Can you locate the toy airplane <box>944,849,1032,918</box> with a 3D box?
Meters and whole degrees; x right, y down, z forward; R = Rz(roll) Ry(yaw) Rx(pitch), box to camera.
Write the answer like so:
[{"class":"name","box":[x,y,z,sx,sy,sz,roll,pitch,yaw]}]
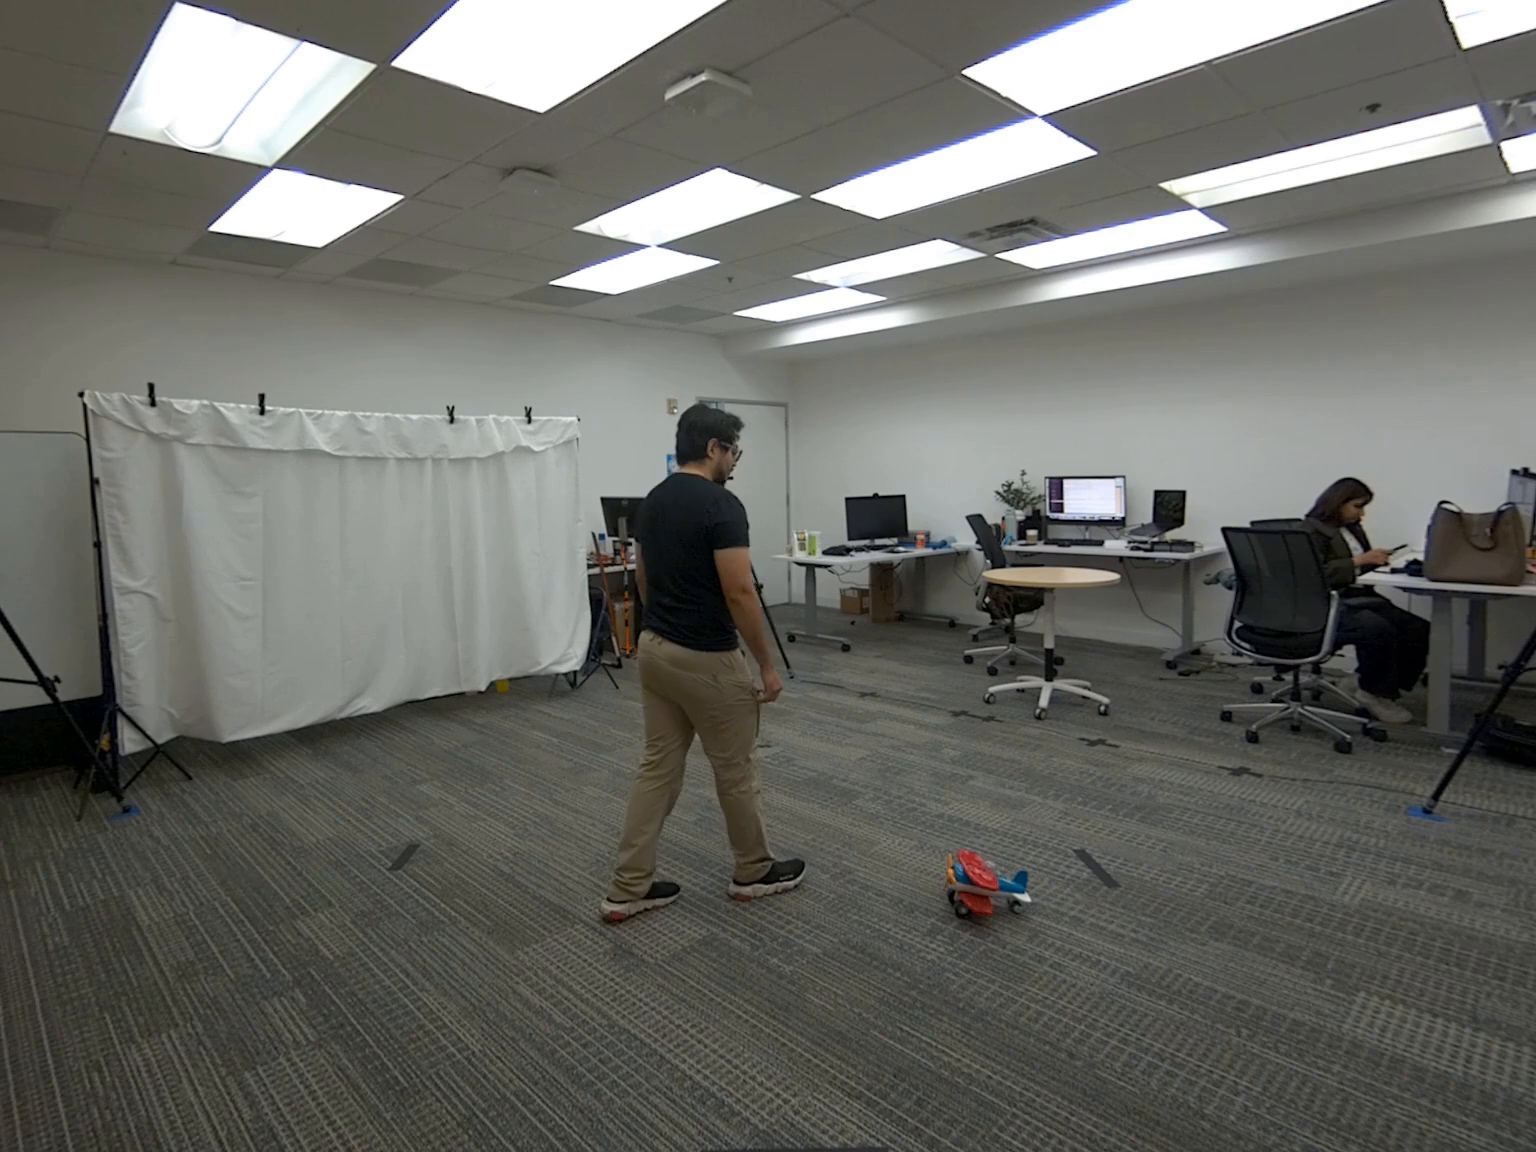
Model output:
[{"class":"toy airplane","box":[0.687,0.980,2.735,0.253,0.155,0.258,-5,8,-29]}]
